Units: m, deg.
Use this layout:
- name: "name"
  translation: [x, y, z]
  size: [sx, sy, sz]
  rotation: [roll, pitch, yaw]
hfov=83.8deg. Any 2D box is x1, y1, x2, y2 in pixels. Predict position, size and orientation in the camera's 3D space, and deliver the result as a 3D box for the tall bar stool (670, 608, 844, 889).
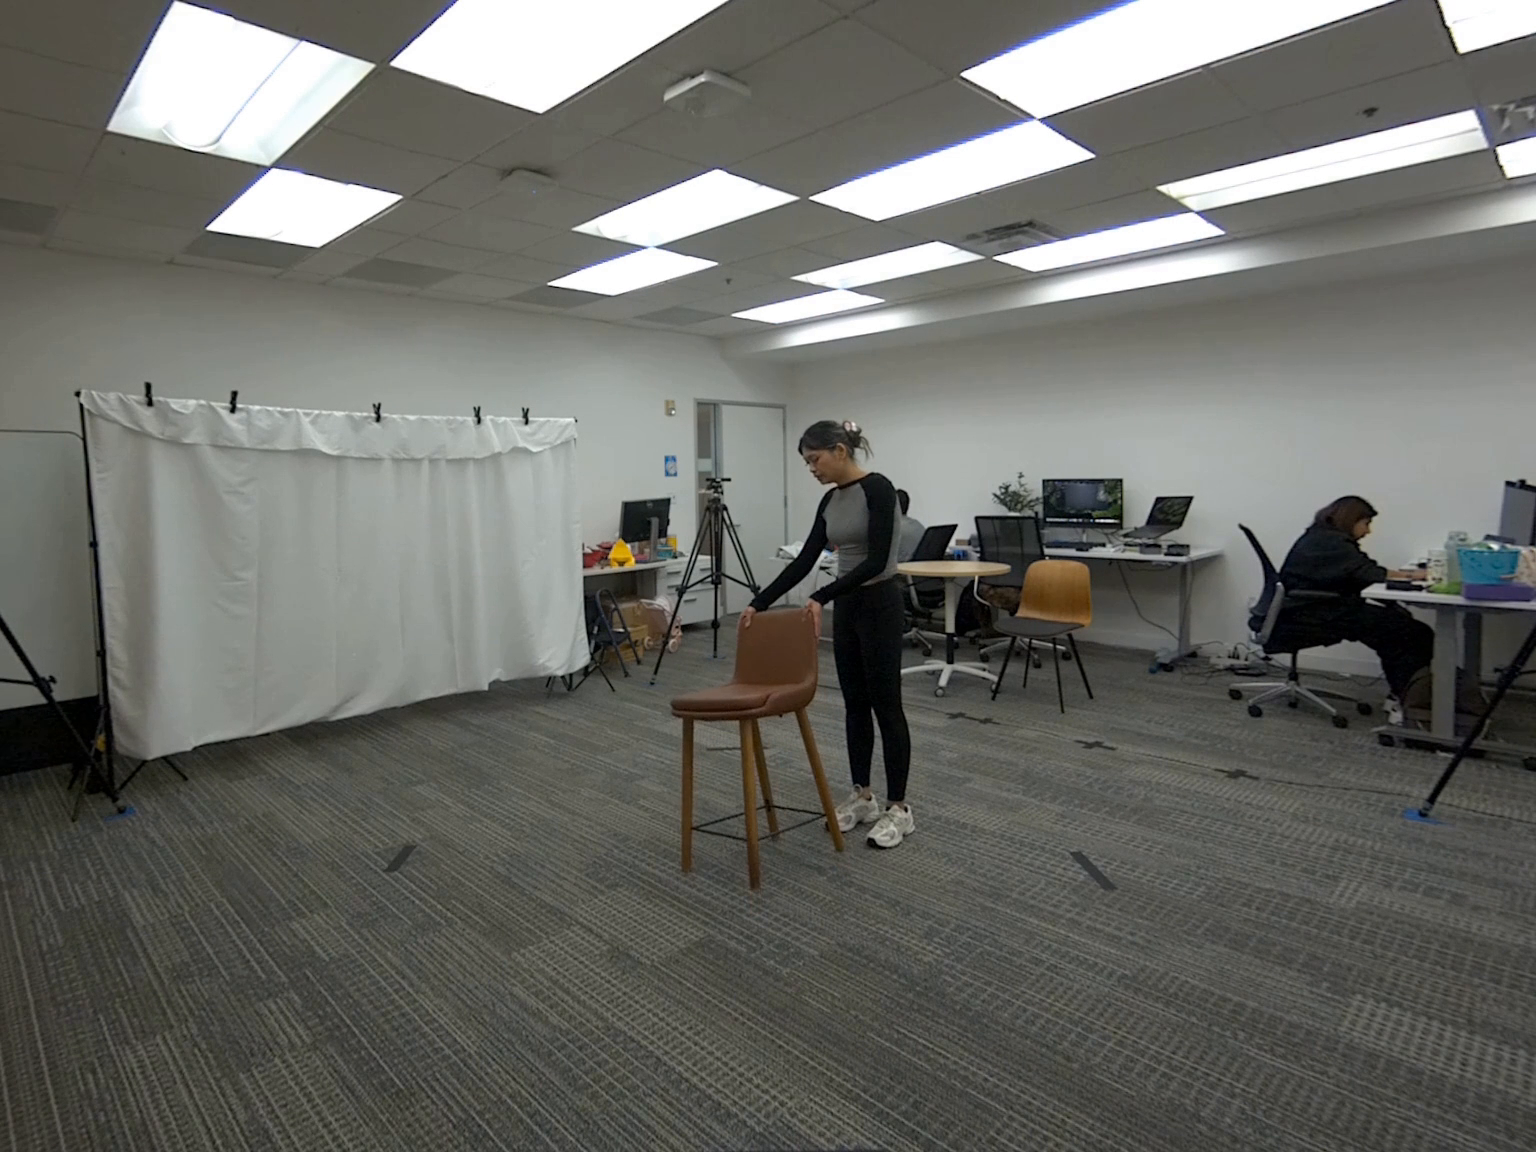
- name: "tall bar stool"
  translation: [-0.055, 0.582, 3.081]
  size: [0.454, 0.895, 0.467]
  rotation: [-1, -7, -40]
